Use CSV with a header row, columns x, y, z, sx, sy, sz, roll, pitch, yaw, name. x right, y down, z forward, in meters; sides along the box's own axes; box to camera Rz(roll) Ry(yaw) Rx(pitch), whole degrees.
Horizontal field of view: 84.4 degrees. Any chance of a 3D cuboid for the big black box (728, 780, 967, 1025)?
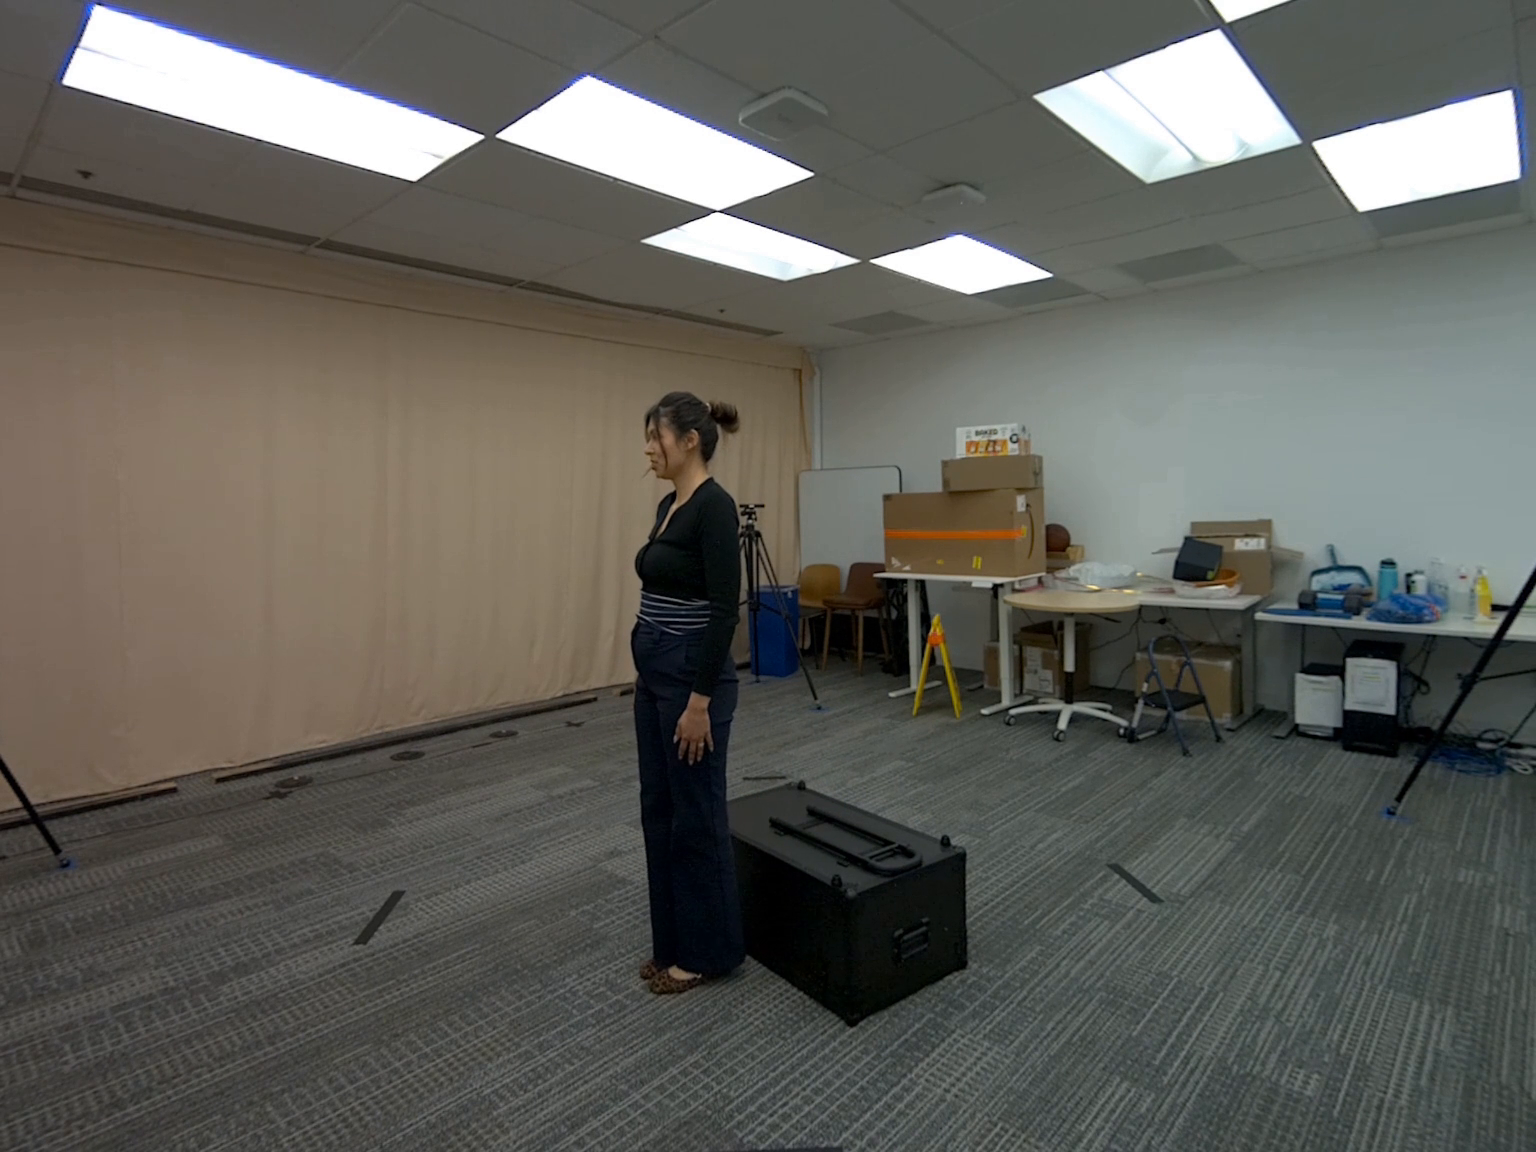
x,y,z,sx,sy,sz,roll,pitch,yaw,name
0.179,0.989,2.656,0.506,0.395,0.889,-4,6,-37,big black box
